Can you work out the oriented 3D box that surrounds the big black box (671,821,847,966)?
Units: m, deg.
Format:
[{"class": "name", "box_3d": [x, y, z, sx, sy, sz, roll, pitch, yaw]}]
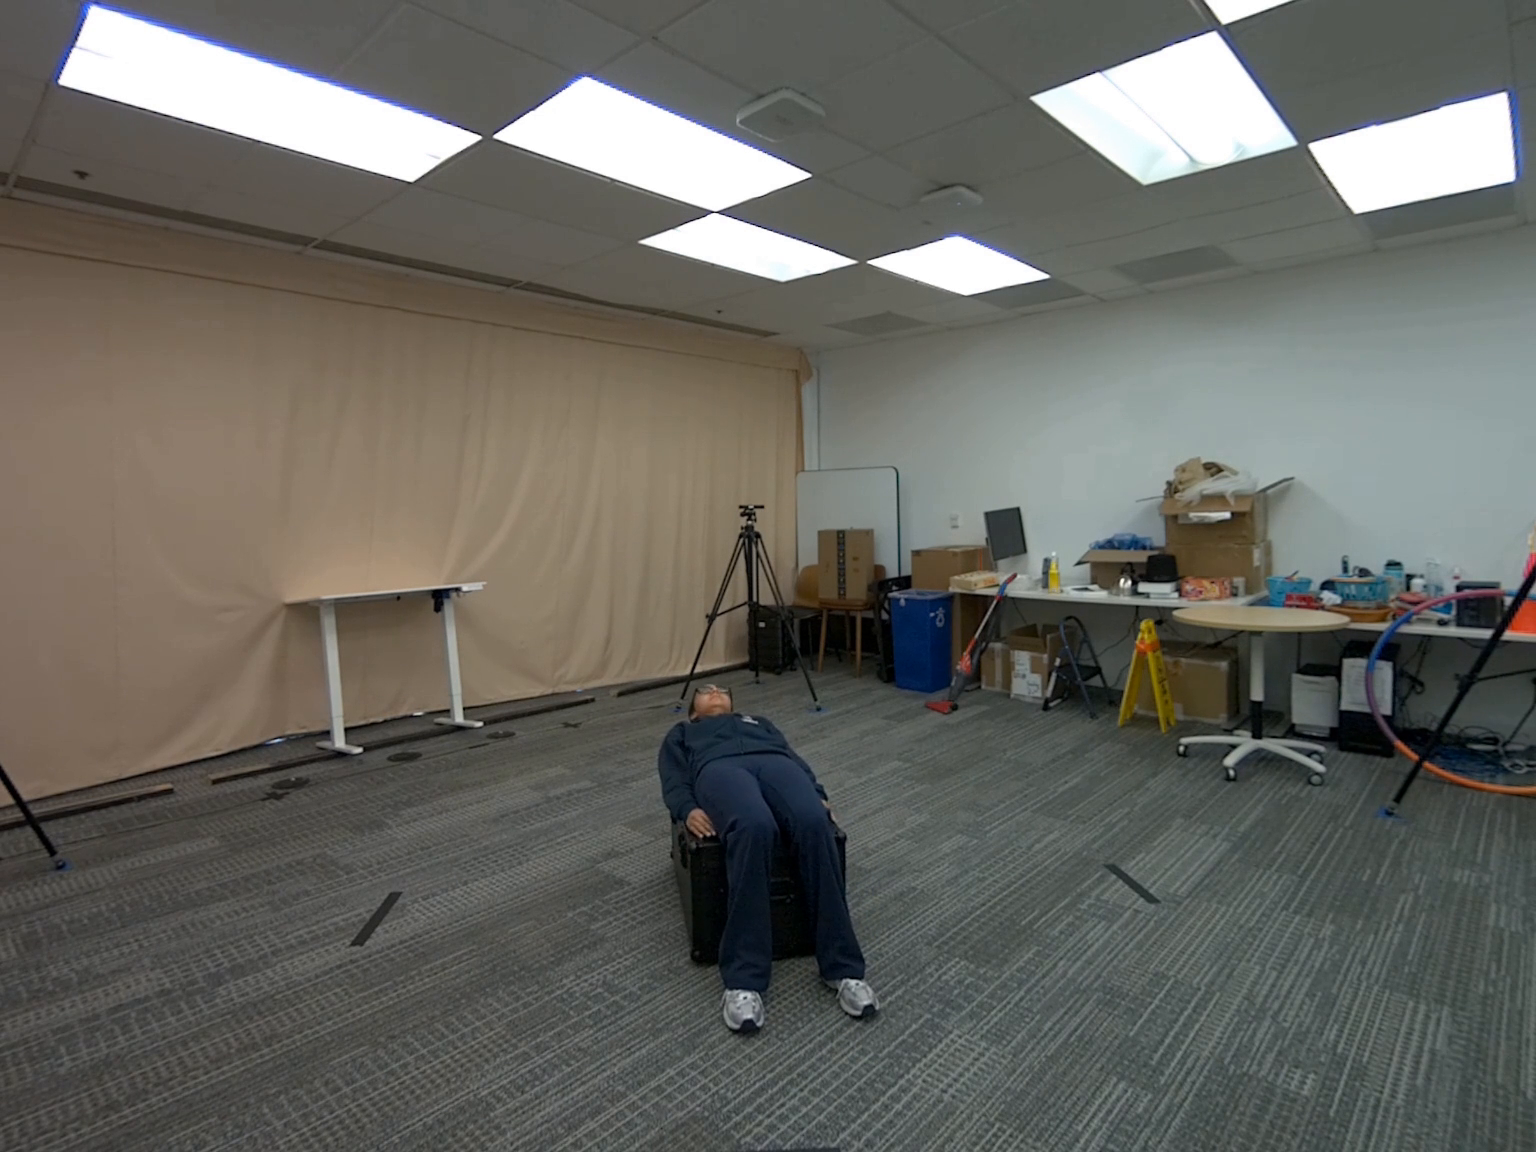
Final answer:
[{"class": "big black box", "box_3d": [-0.075, 0.952, 2.976, 0.516, 0.395, 0.873, -4, 5, -11]}]
